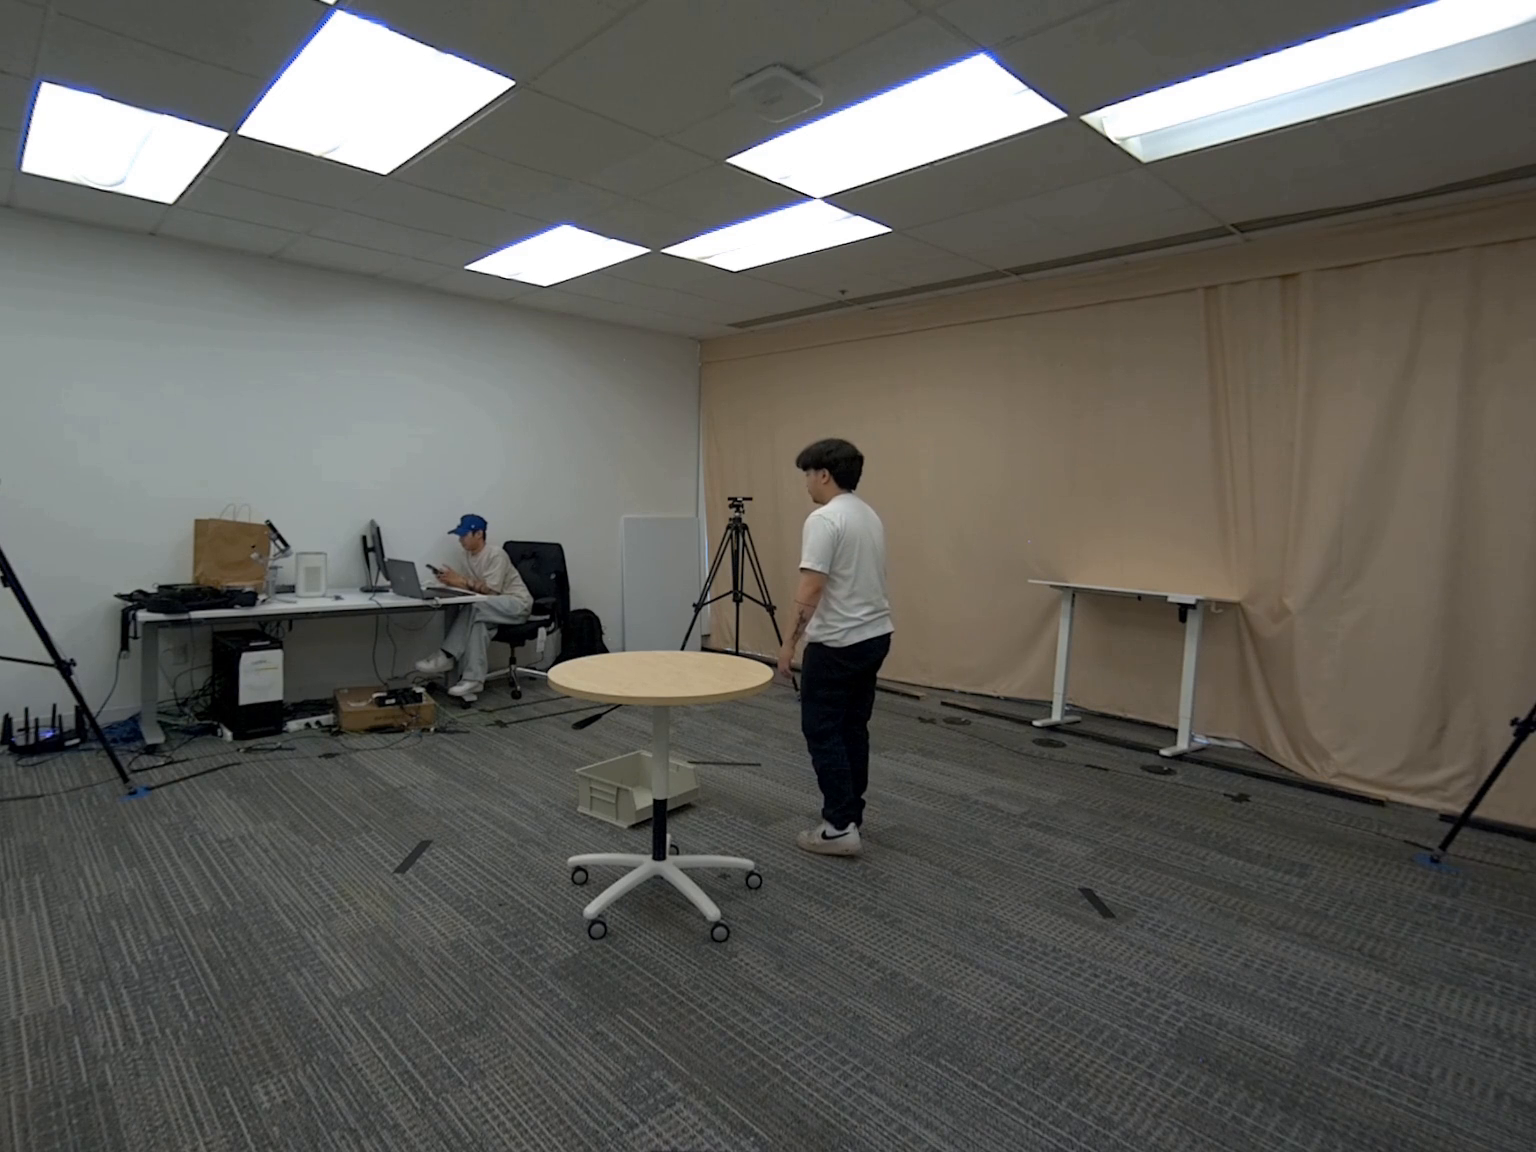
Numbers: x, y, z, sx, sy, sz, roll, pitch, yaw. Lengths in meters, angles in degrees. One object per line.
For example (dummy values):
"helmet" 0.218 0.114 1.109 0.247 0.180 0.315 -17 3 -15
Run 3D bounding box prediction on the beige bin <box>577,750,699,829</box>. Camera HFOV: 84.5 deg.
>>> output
"beige bin" -0.584 0.945 3.767 0.386 0.188 0.413 4 6 36
